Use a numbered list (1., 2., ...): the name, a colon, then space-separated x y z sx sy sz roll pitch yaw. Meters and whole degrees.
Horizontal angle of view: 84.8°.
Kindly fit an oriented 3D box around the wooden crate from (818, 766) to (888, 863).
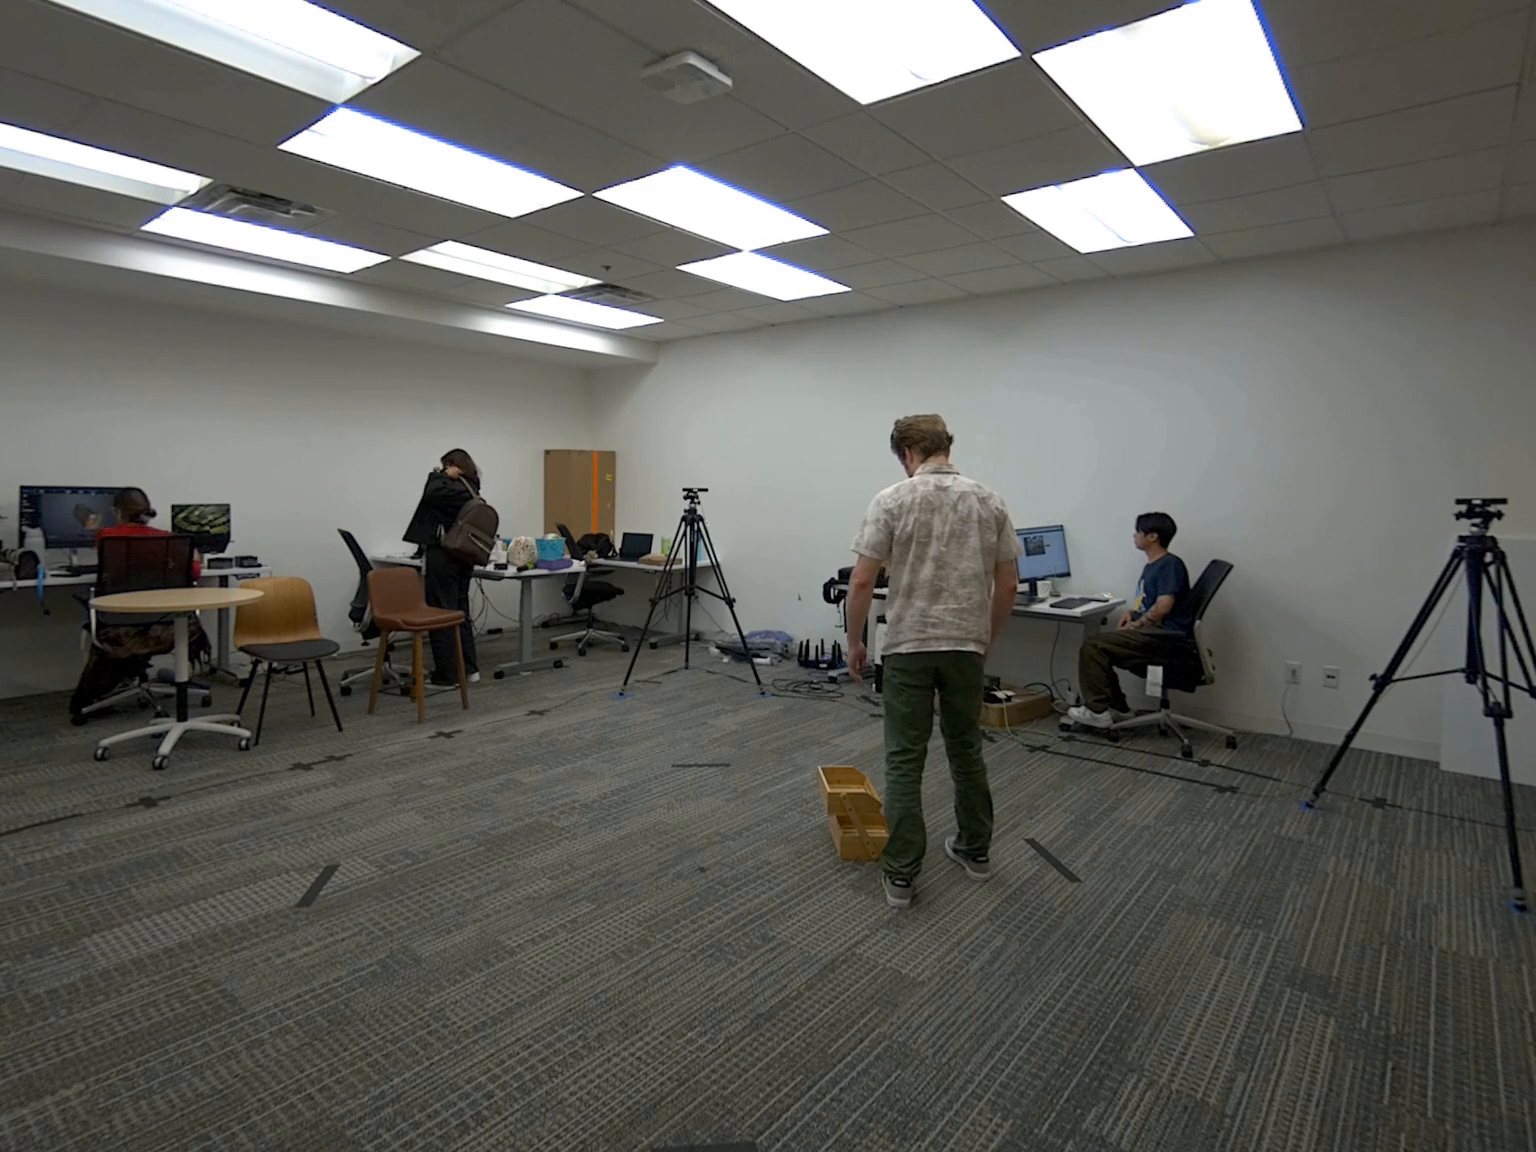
1. wooden crate: 0.365 0.926 3.367 0.301 0.272 0.326 2 4 -3
